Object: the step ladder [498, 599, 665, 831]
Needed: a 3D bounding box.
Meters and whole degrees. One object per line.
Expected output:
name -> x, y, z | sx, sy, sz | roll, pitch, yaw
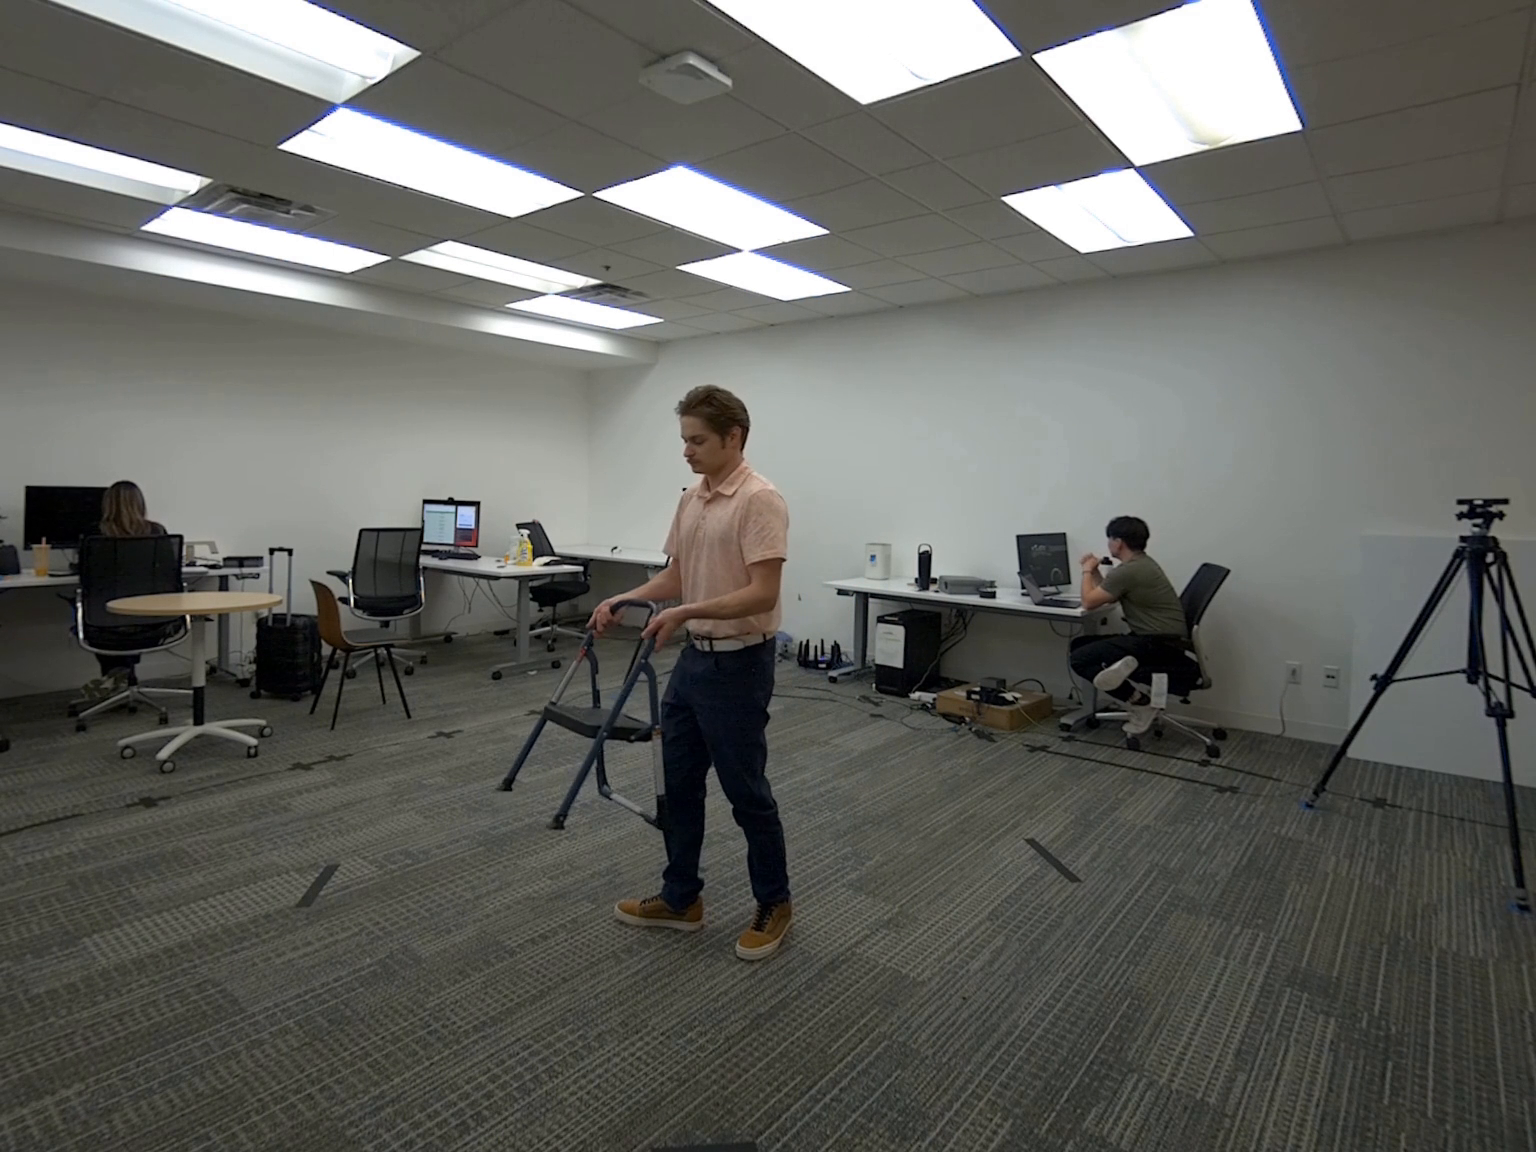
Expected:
step ladder -> -0.485, 0.356, 2.424 | 0.337, 0.609, 0.443 | 13, -8, -35
